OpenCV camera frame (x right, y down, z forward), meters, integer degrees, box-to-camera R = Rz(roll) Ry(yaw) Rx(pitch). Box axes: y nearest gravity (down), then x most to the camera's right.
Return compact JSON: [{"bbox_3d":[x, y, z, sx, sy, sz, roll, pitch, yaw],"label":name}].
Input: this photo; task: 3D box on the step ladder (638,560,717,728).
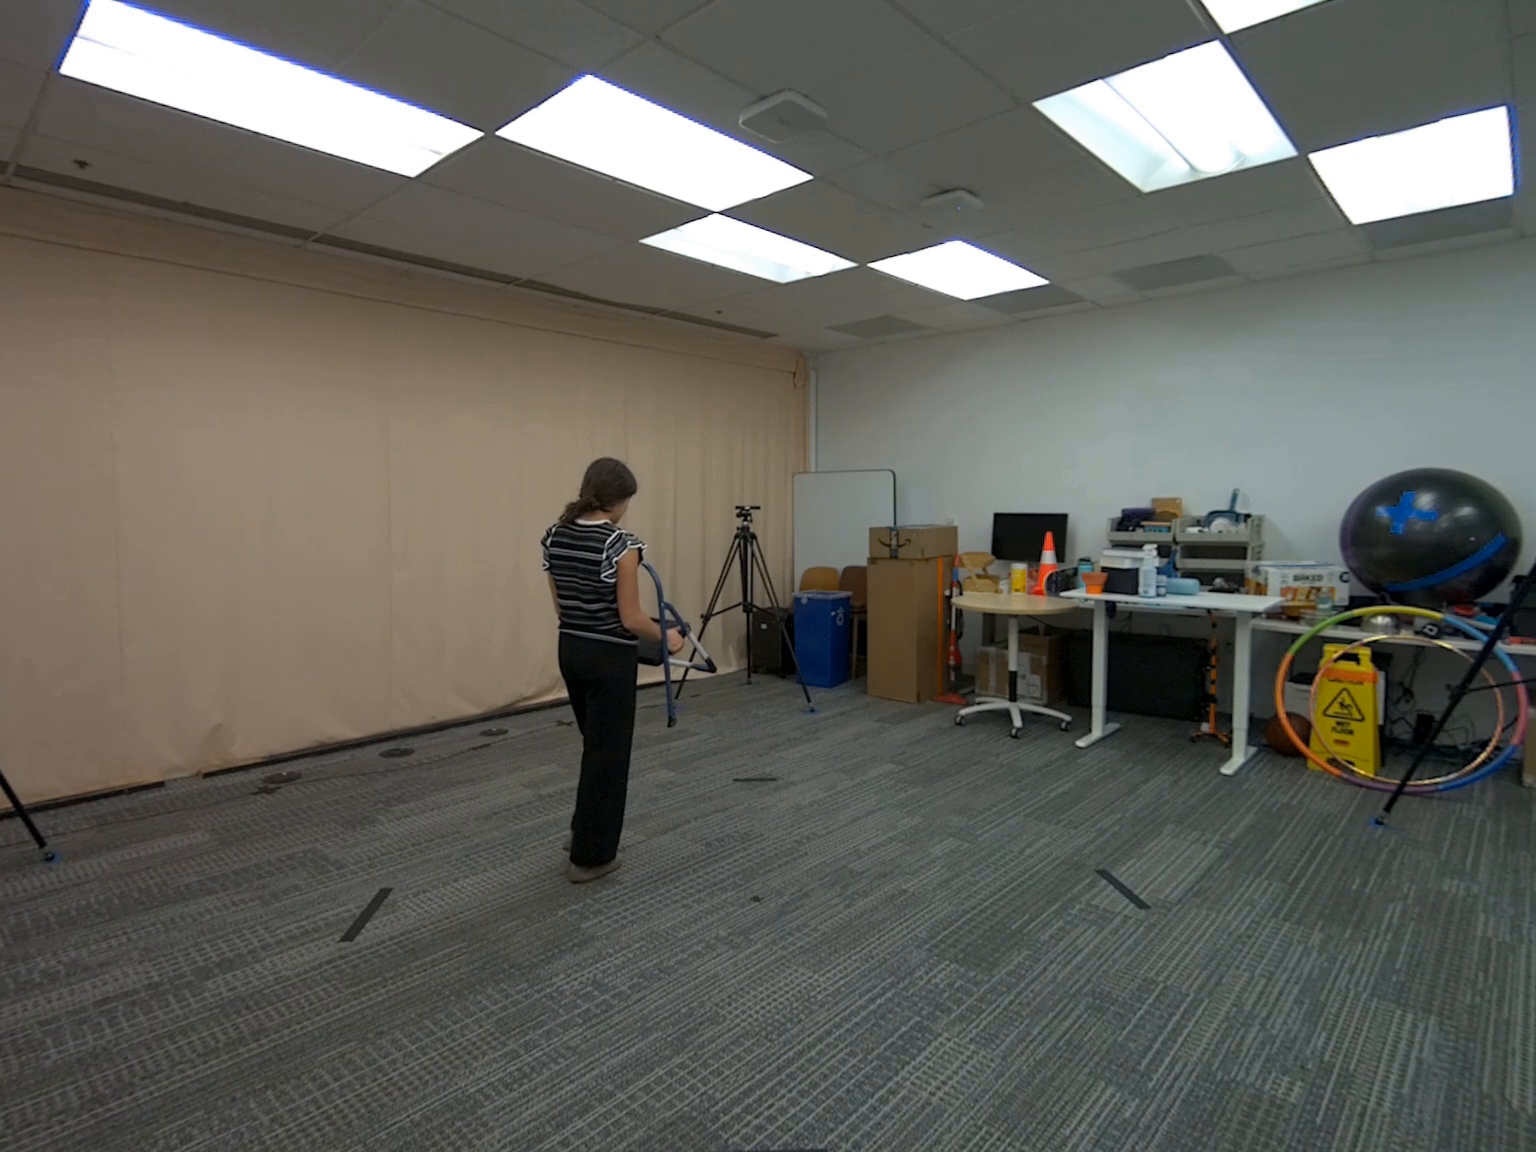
[{"bbox_3d":[-0.529,0.216,3.333,0.444,0.592,0.346,4,34,34],"label":"step ladder"}]
